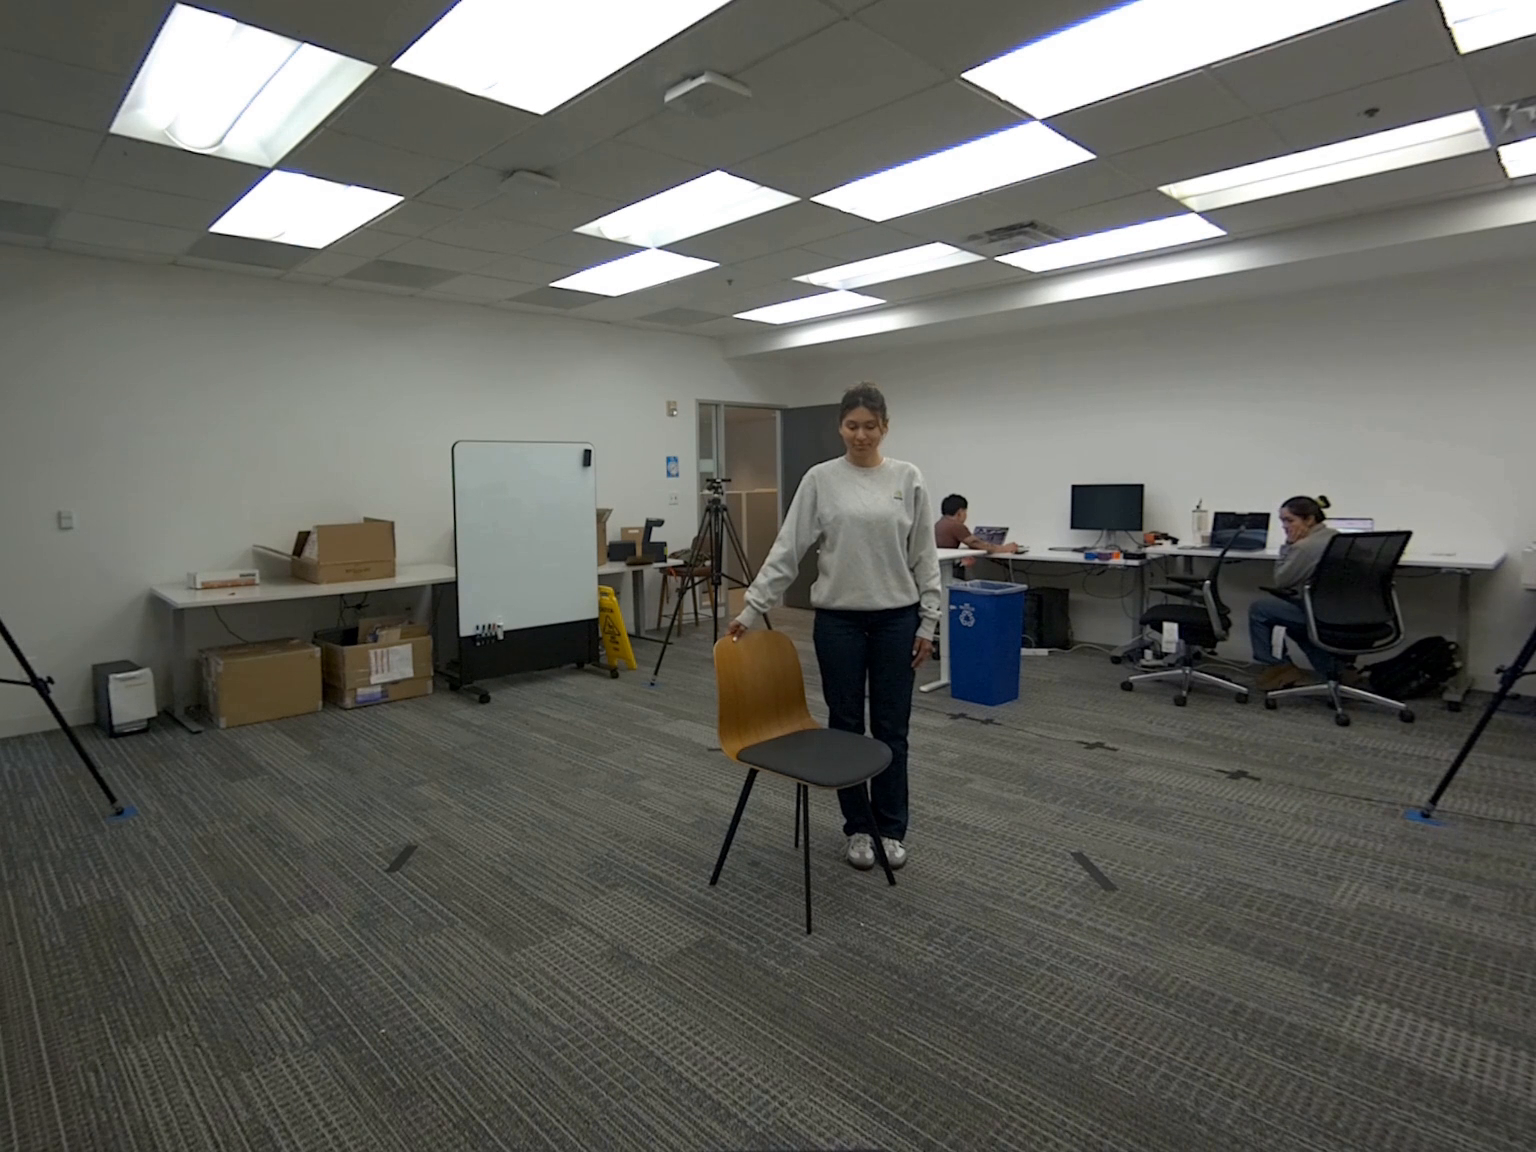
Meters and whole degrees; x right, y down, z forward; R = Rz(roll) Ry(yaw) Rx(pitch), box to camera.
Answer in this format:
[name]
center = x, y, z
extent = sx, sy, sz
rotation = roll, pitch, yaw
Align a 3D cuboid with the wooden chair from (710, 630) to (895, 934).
[wooden chair]
center = 0.113, 0.640, 2.889
extent = 0.465, 0.877, 0.538
rotation = -4, 1, -45
